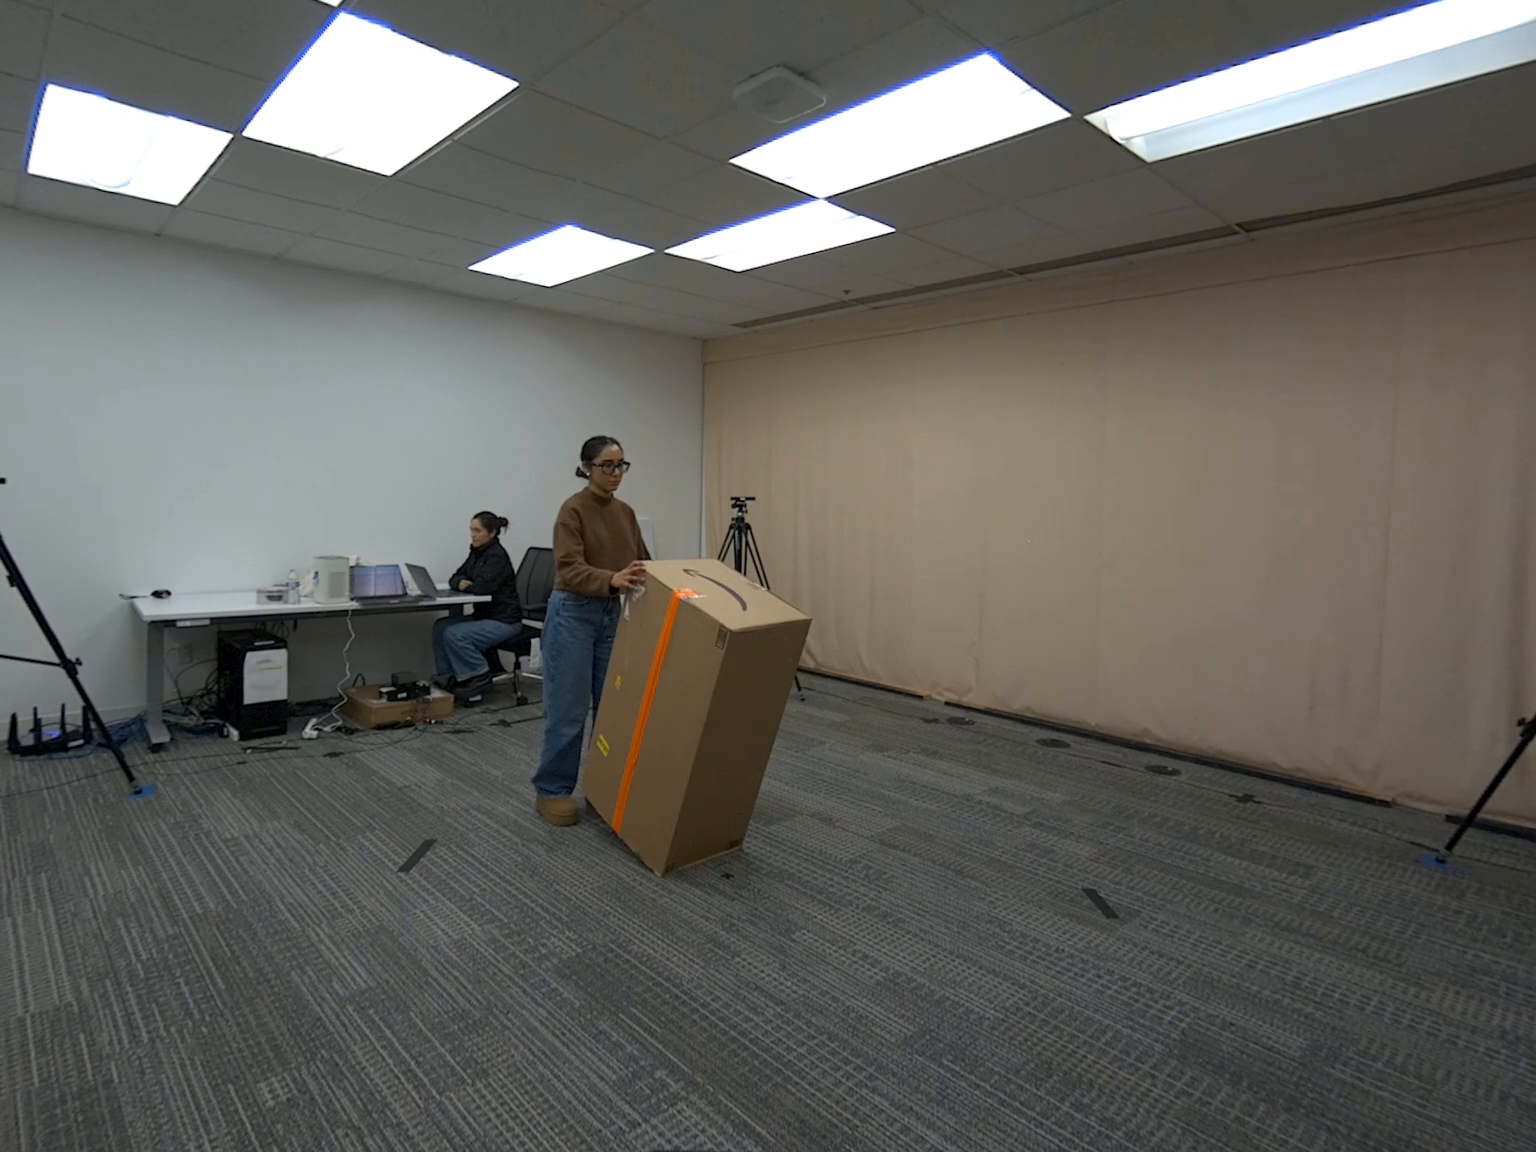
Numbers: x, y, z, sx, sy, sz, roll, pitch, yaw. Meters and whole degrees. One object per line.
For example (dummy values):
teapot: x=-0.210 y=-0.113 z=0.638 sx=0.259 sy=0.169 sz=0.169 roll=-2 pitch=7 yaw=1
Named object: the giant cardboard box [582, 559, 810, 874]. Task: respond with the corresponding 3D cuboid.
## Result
giant cardboard box: x=-0.312 y=0.517 z=3.259 sx=0.416 sy=1.017 sz=0.596 roll=-2 pitch=24 yaw=-45
